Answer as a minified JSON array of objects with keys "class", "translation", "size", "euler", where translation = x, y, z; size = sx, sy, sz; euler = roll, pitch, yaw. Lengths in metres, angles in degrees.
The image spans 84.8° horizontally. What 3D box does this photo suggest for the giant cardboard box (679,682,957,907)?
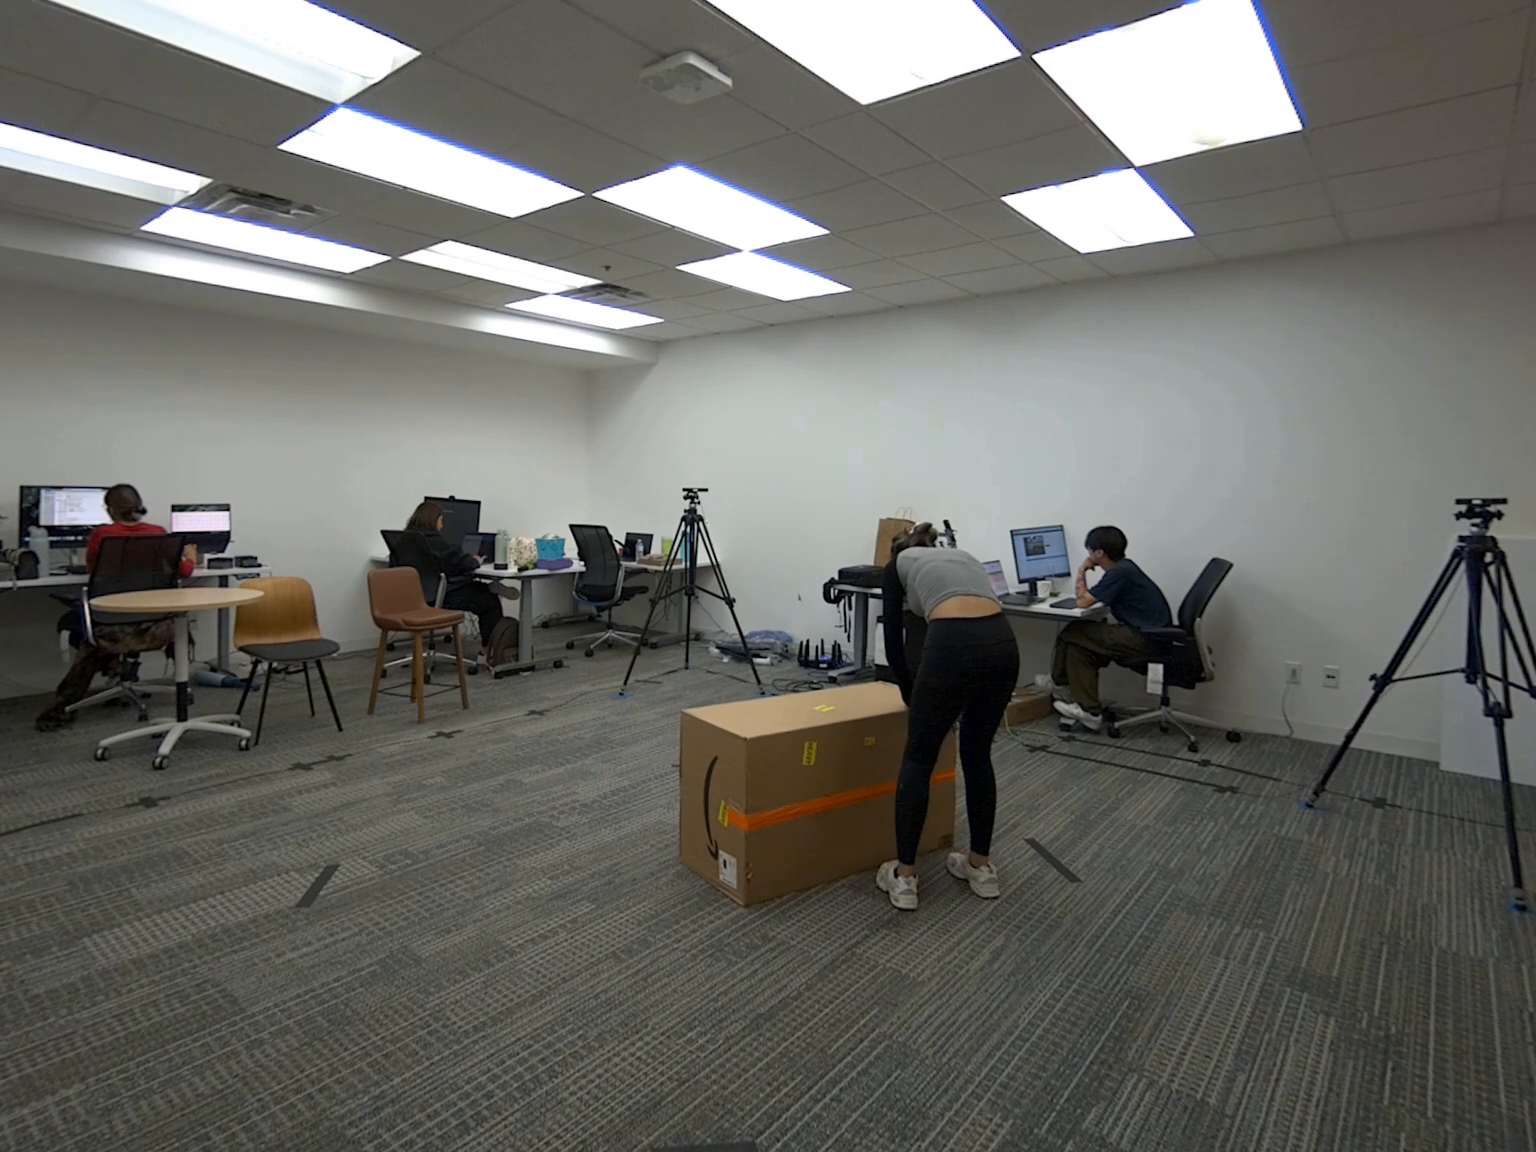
[{"class":"giant cardboard box","translation":[0.194,0.777,3.259],"size":[0.998,0.582,0.462],"euler":[-2,6,-35]}]
